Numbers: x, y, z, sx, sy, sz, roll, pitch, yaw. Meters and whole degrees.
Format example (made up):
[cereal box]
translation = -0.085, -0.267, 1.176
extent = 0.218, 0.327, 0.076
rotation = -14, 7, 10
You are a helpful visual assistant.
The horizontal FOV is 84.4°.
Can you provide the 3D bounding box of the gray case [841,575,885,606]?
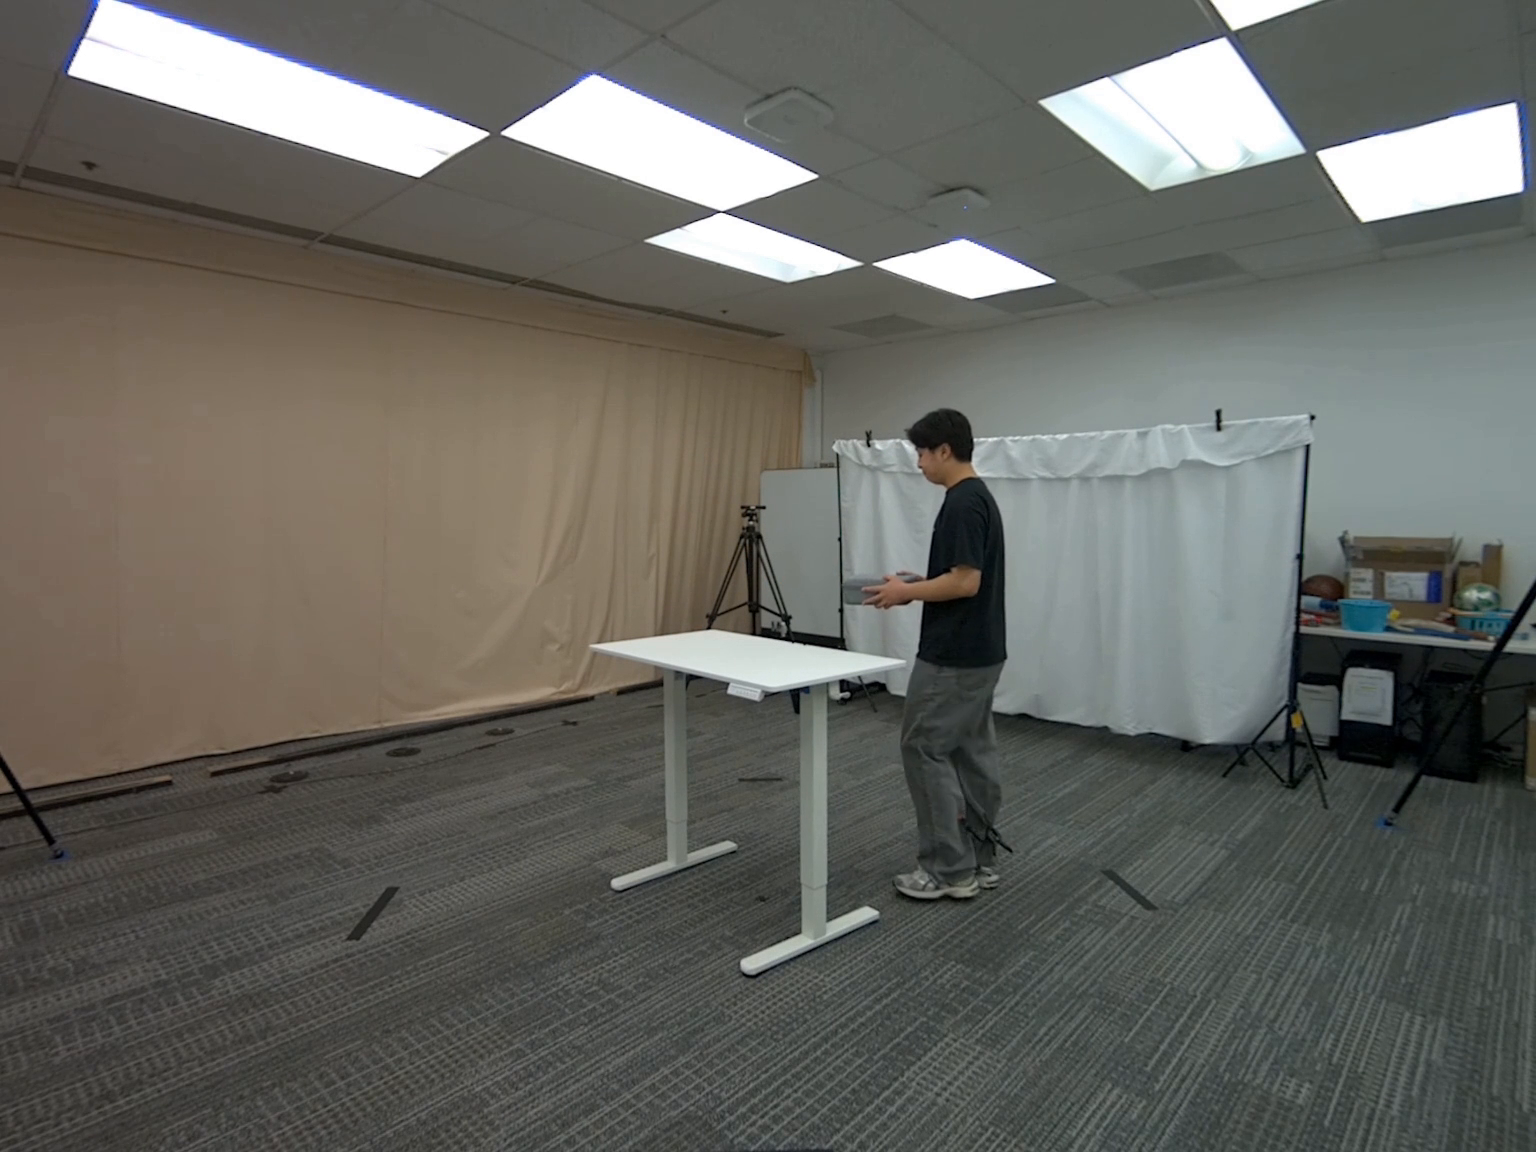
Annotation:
[gray case]
translation = 0.424, 0.054, 3.254
extent = 0.290, 0.103, 0.261
rotation = 0, 4, 9
